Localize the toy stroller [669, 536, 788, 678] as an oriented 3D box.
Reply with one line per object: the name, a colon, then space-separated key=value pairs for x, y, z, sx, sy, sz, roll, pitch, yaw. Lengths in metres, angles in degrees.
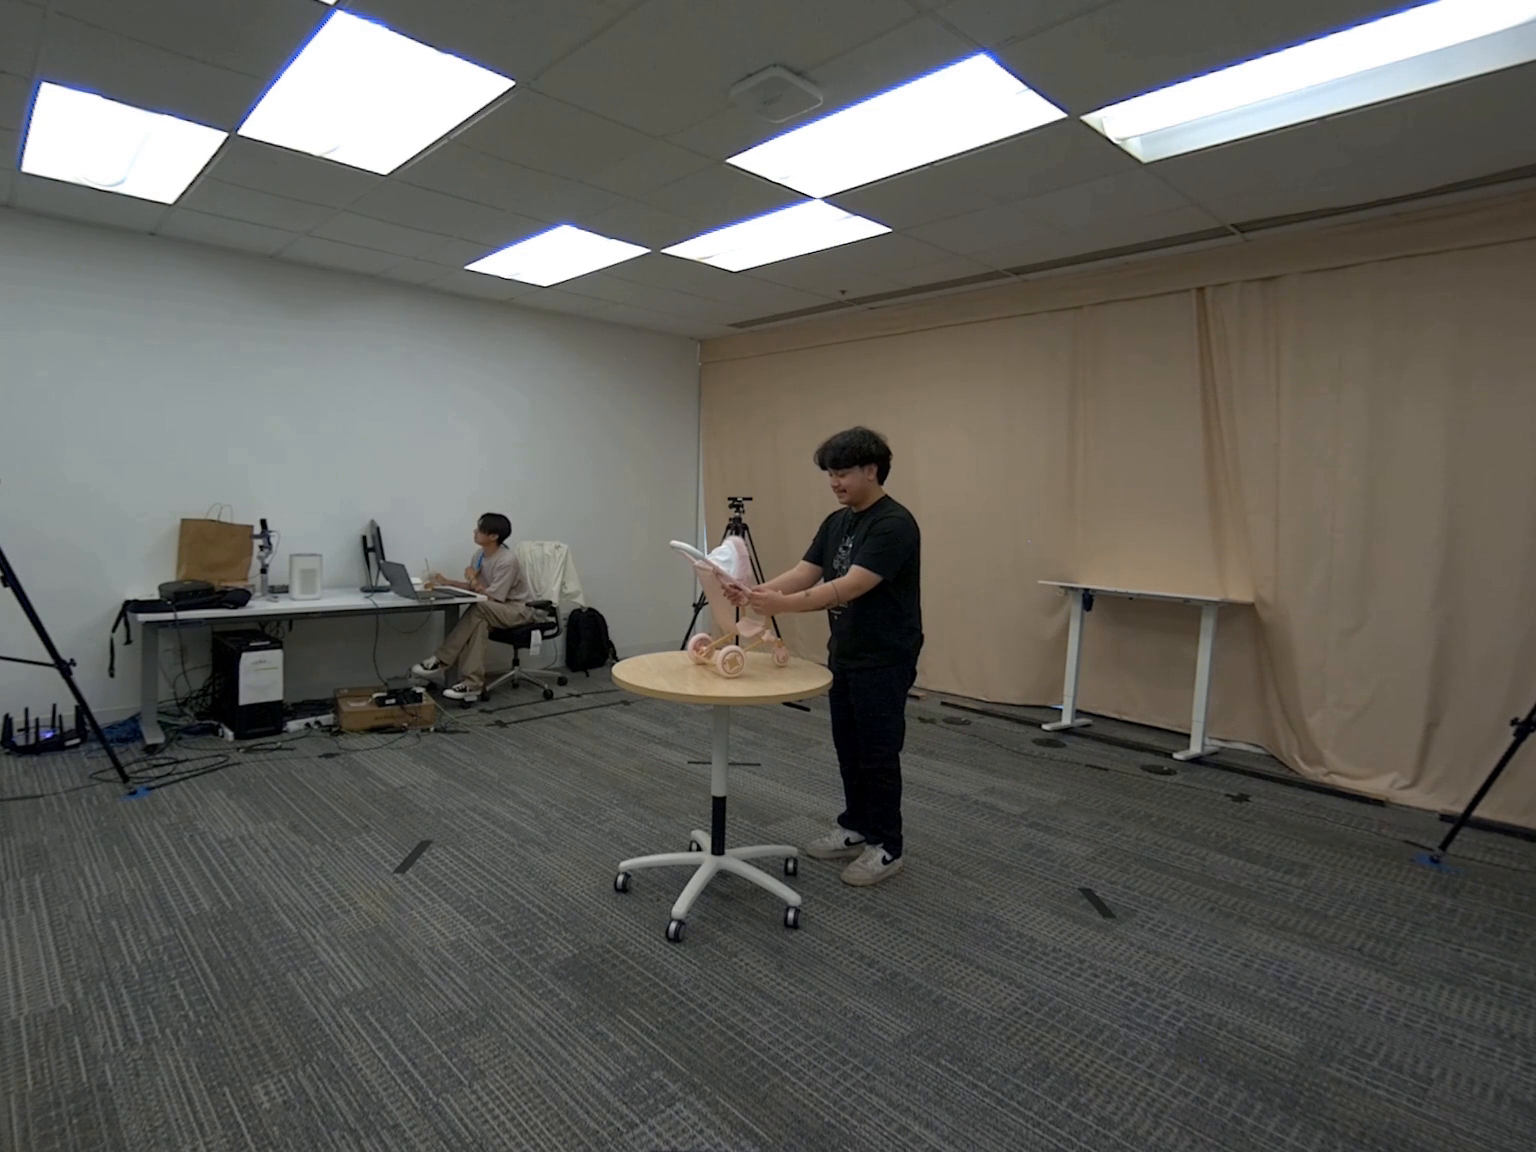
toy stroller: x=-0.117 y=0.101 z=2.930 sx=0.337 sy=0.531 sz=0.287 roll=-14 pitch=9 yaw=-20
